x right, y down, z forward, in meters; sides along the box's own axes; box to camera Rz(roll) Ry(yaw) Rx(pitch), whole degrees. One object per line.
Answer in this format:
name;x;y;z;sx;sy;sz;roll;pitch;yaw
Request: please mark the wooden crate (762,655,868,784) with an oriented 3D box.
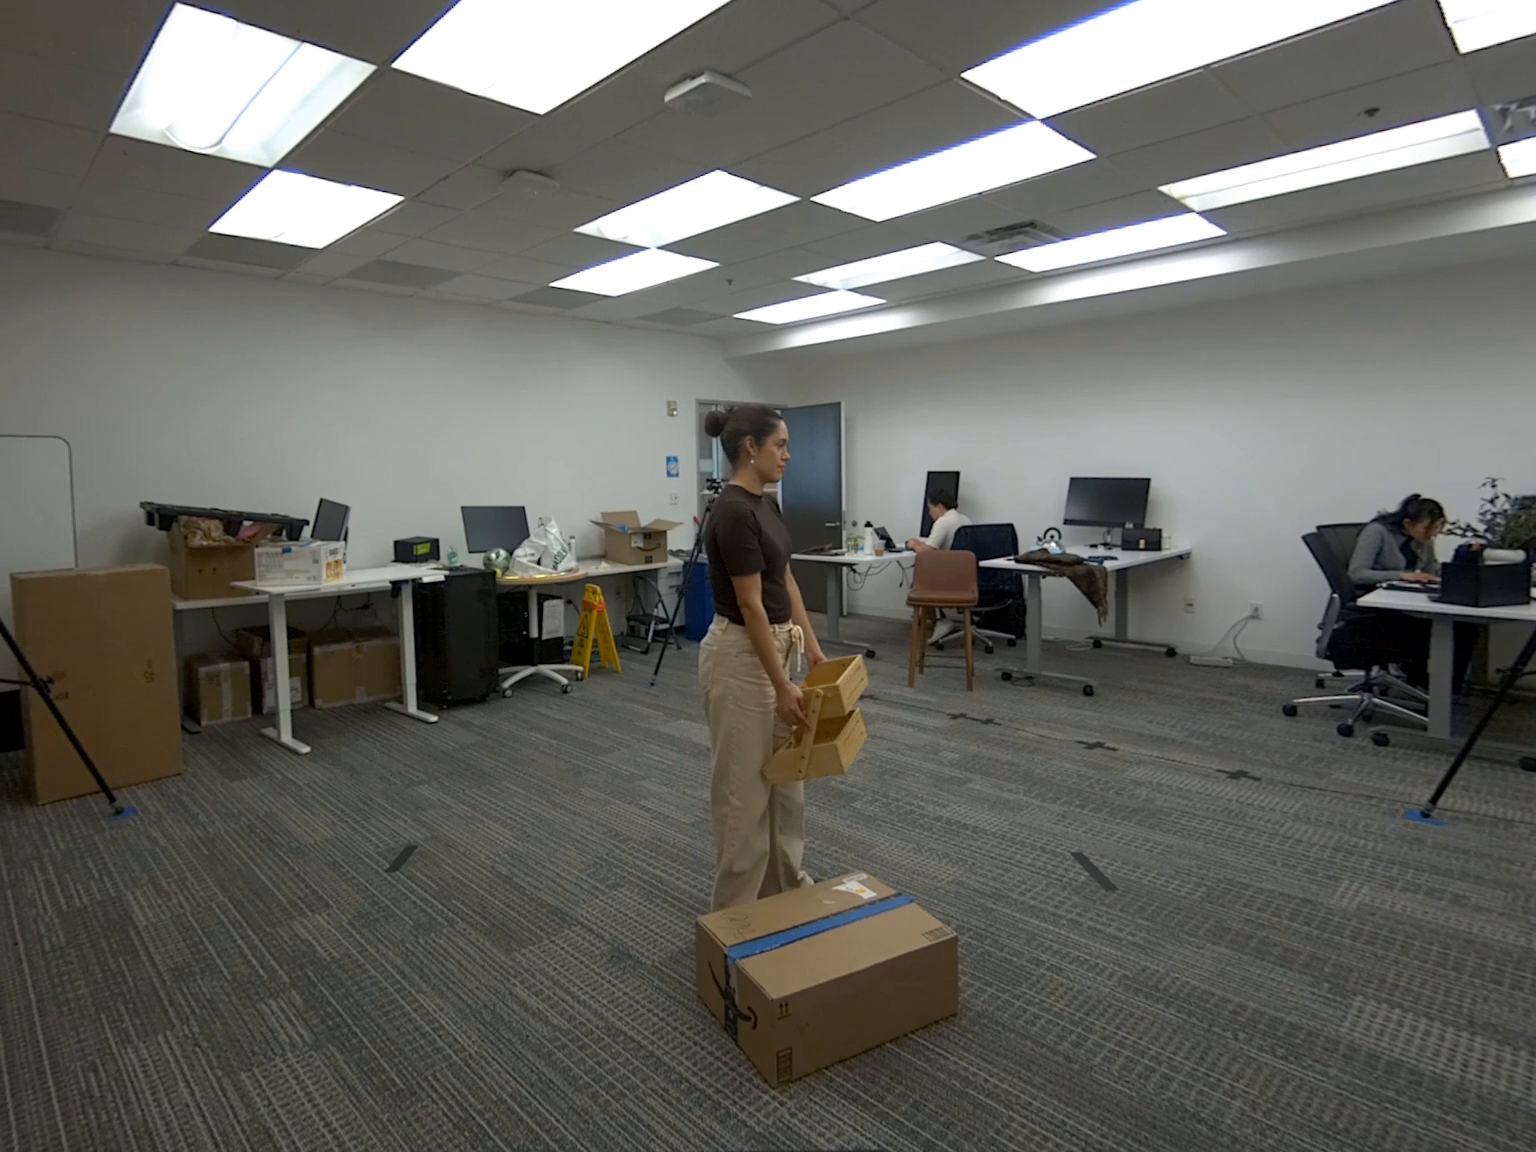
wooden crate;0.144;0.427;2.593;0.307;0.272;0.321;-14;5;22
